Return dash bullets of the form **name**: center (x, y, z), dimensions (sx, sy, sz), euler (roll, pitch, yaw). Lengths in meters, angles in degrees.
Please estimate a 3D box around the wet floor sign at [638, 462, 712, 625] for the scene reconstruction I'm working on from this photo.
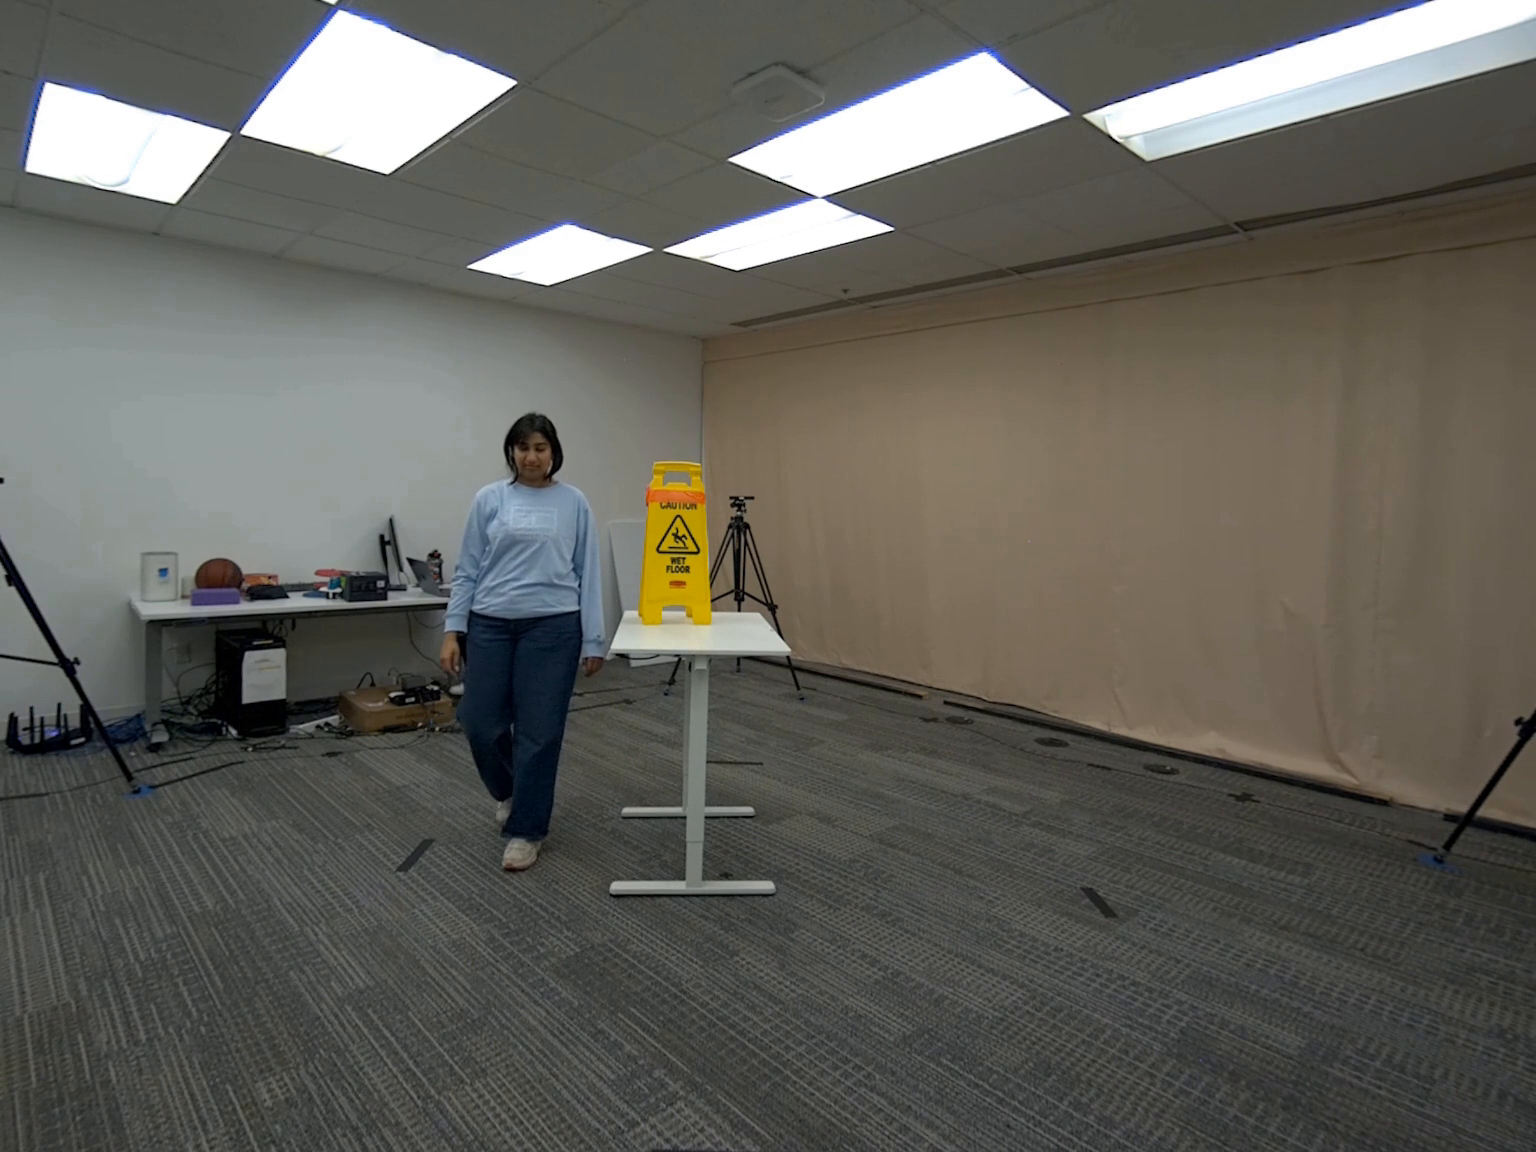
- **wet floor sign**: center (-0.391, -0.140, 3.456), dimensions (0.280, 0.644, 0.293), euler (1, 3, -11)
